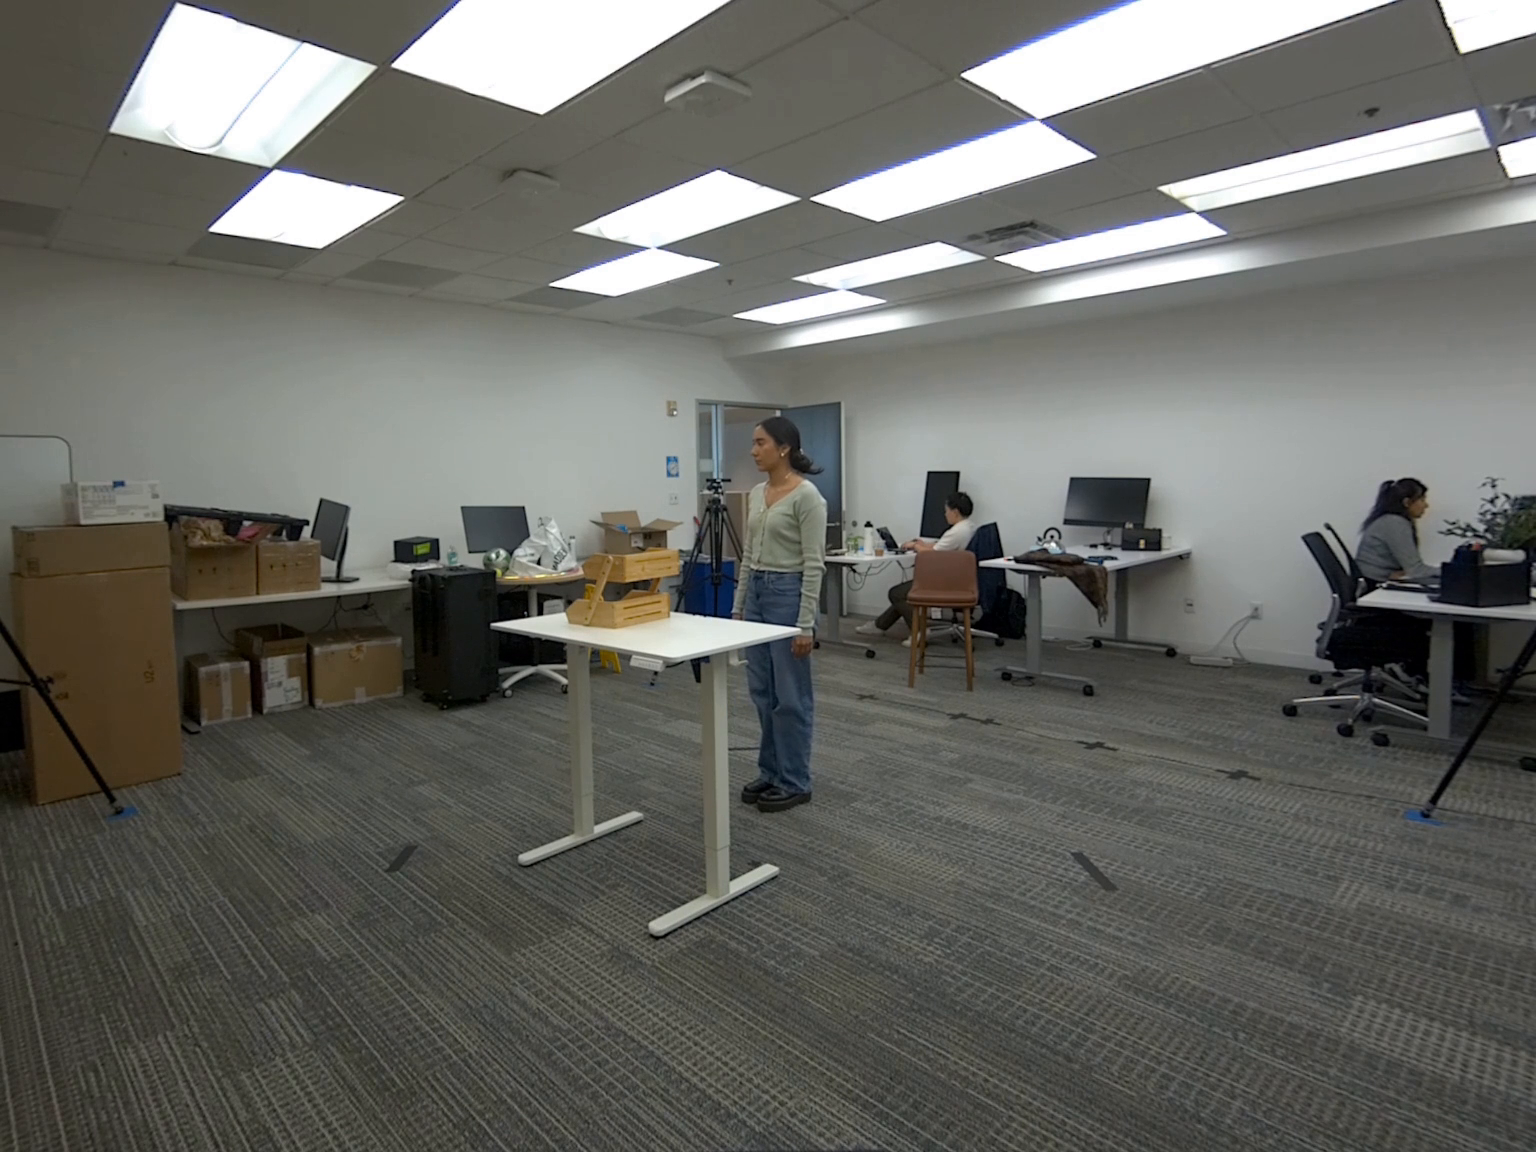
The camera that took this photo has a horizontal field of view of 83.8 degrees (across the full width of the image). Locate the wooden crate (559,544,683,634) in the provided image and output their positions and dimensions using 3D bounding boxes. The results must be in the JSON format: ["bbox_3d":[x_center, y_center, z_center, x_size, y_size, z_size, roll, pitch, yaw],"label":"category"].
[{"bbox_3d":[-0.538,0.035,3.152,0.311,0.272,0.317,3,7,35],"label":"wooden crate"}]
